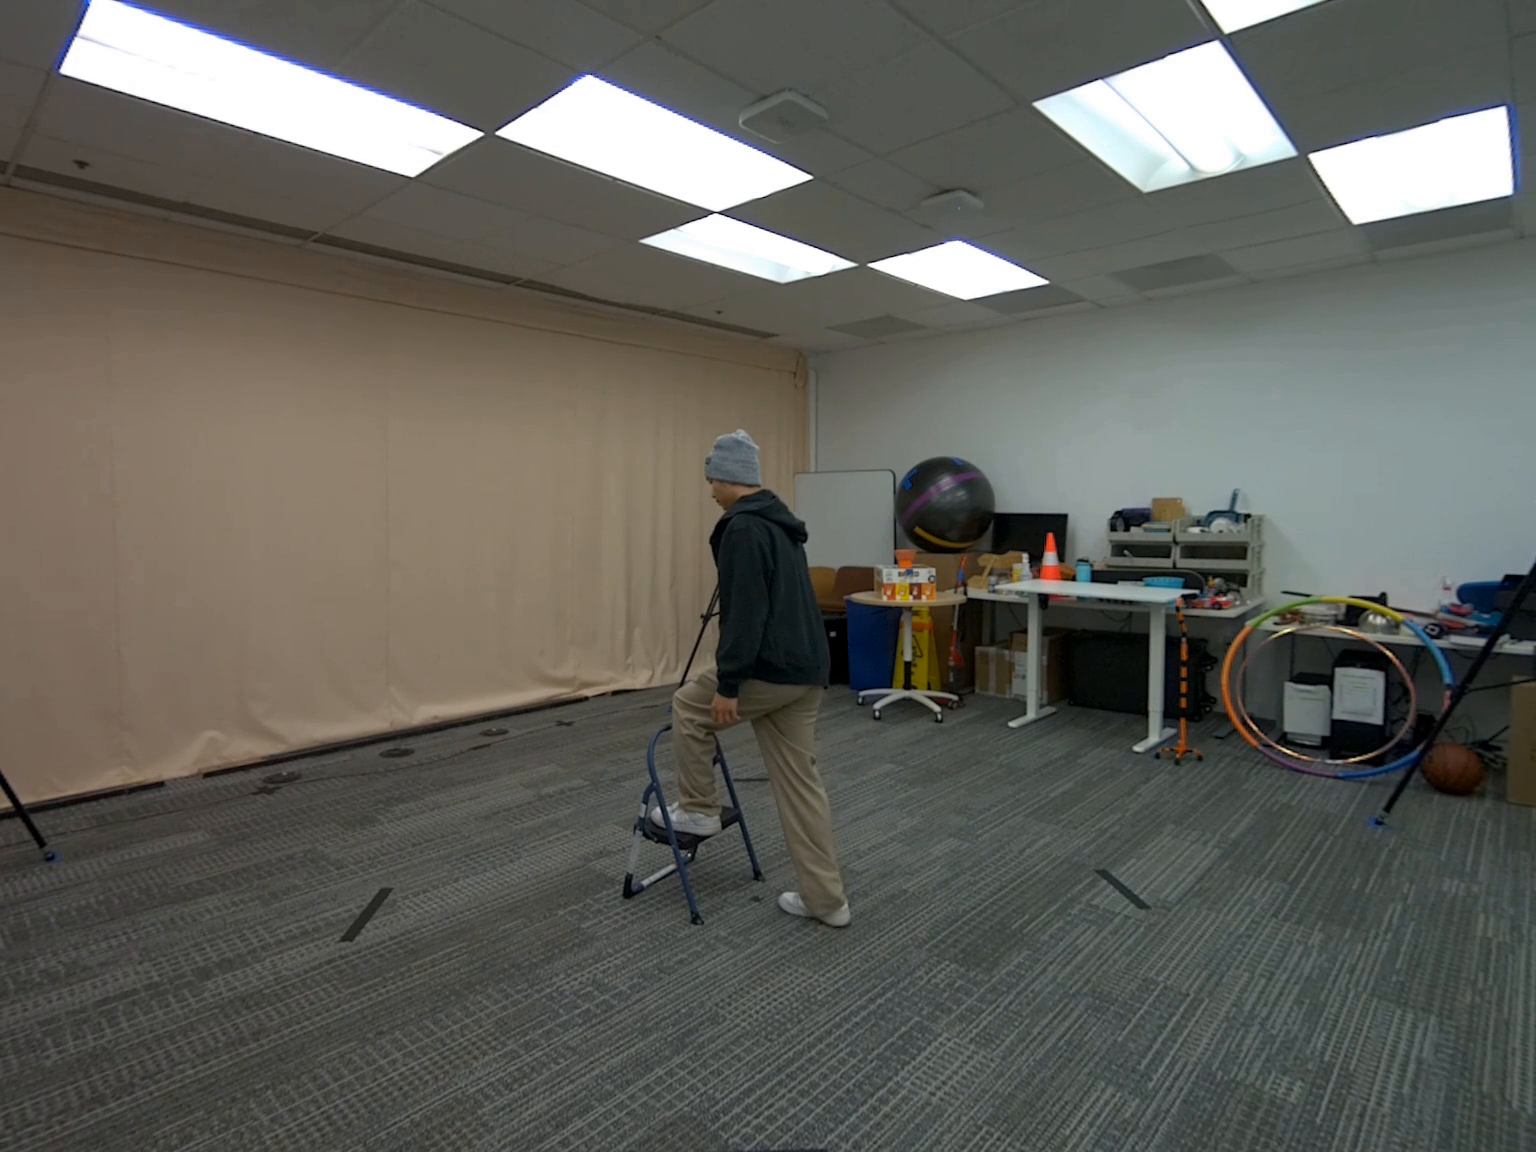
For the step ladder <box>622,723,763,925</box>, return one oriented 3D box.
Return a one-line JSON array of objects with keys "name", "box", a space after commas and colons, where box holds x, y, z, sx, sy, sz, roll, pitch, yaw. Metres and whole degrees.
[{"name": "step ladder", "box": [-0.269, 0.838, 3.056, 0.360, 0.605, 0.419, 1, 4, 32]}]
